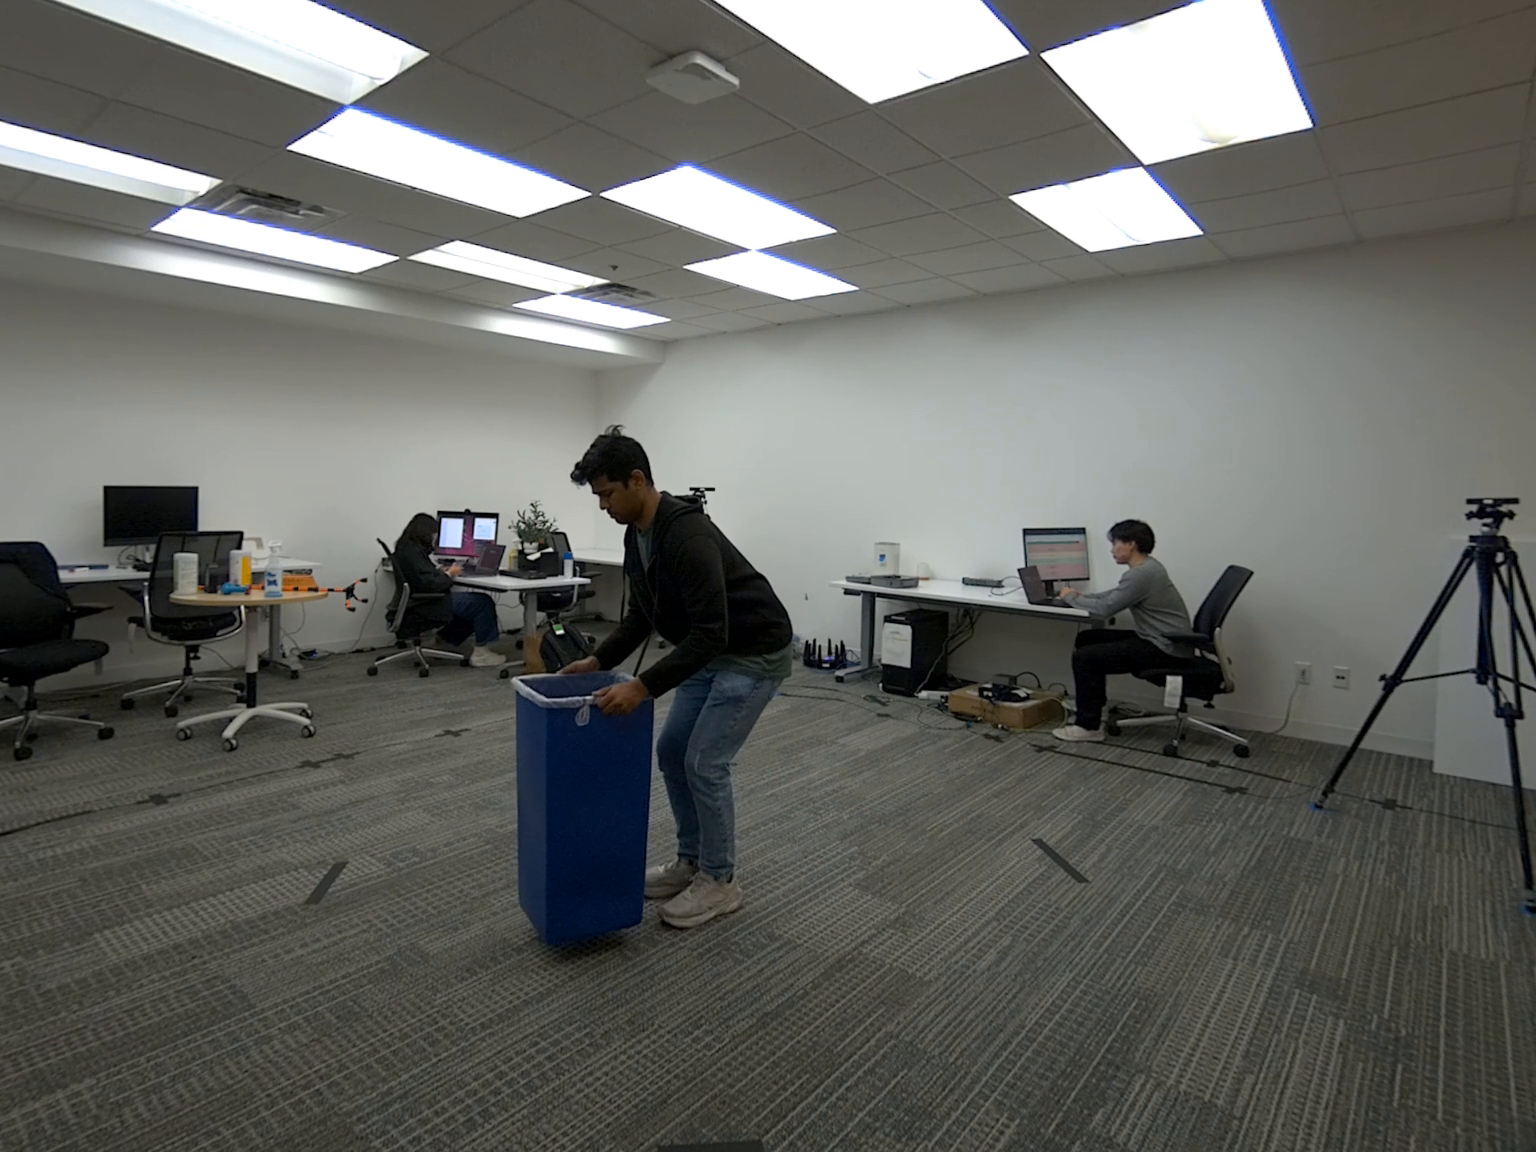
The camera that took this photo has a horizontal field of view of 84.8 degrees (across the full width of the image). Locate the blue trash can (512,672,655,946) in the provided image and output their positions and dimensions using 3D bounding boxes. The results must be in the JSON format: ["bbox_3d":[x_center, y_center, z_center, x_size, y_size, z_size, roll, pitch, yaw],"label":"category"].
[{"bbox_3d":[-0.588,0.681,2.619,0.367,0.712,0.385,1,2,-31],"label":"blue trash can"}]
